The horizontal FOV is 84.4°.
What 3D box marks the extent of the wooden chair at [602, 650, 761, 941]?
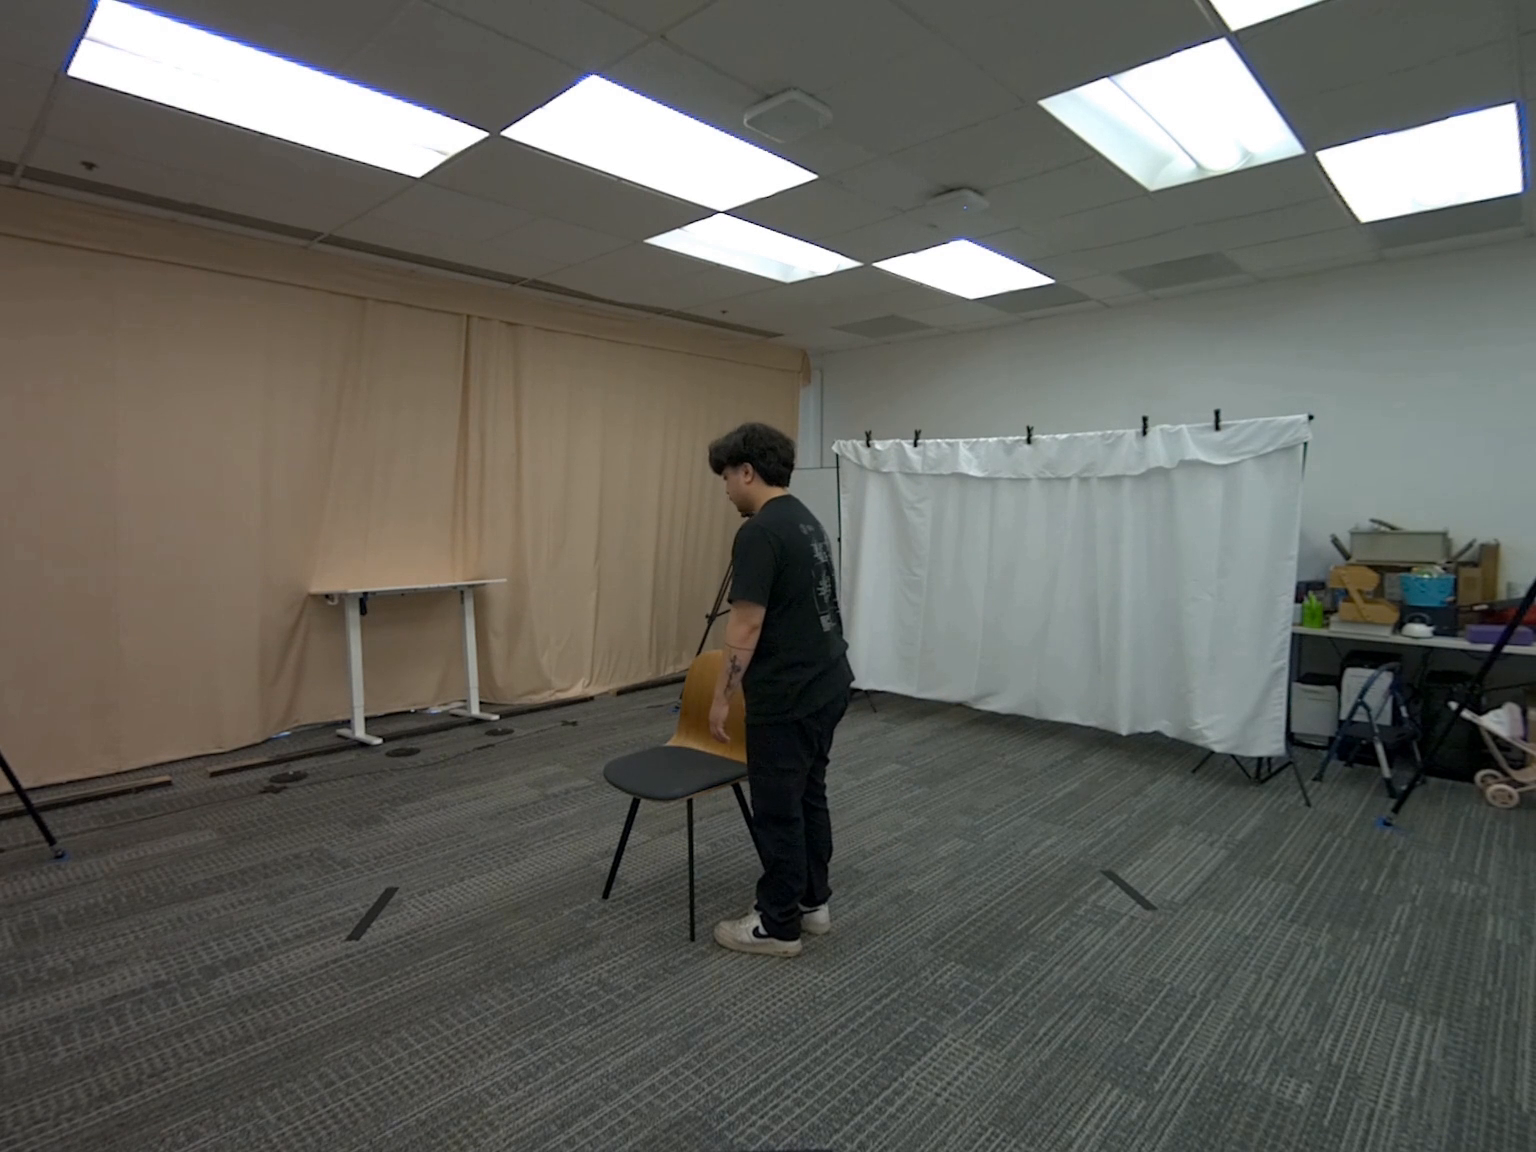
[{"bbox_3d":[-0.277,0.717,2.973,0.494,0.877,0.506,3,0,41],"label":"wooden chair"}]
